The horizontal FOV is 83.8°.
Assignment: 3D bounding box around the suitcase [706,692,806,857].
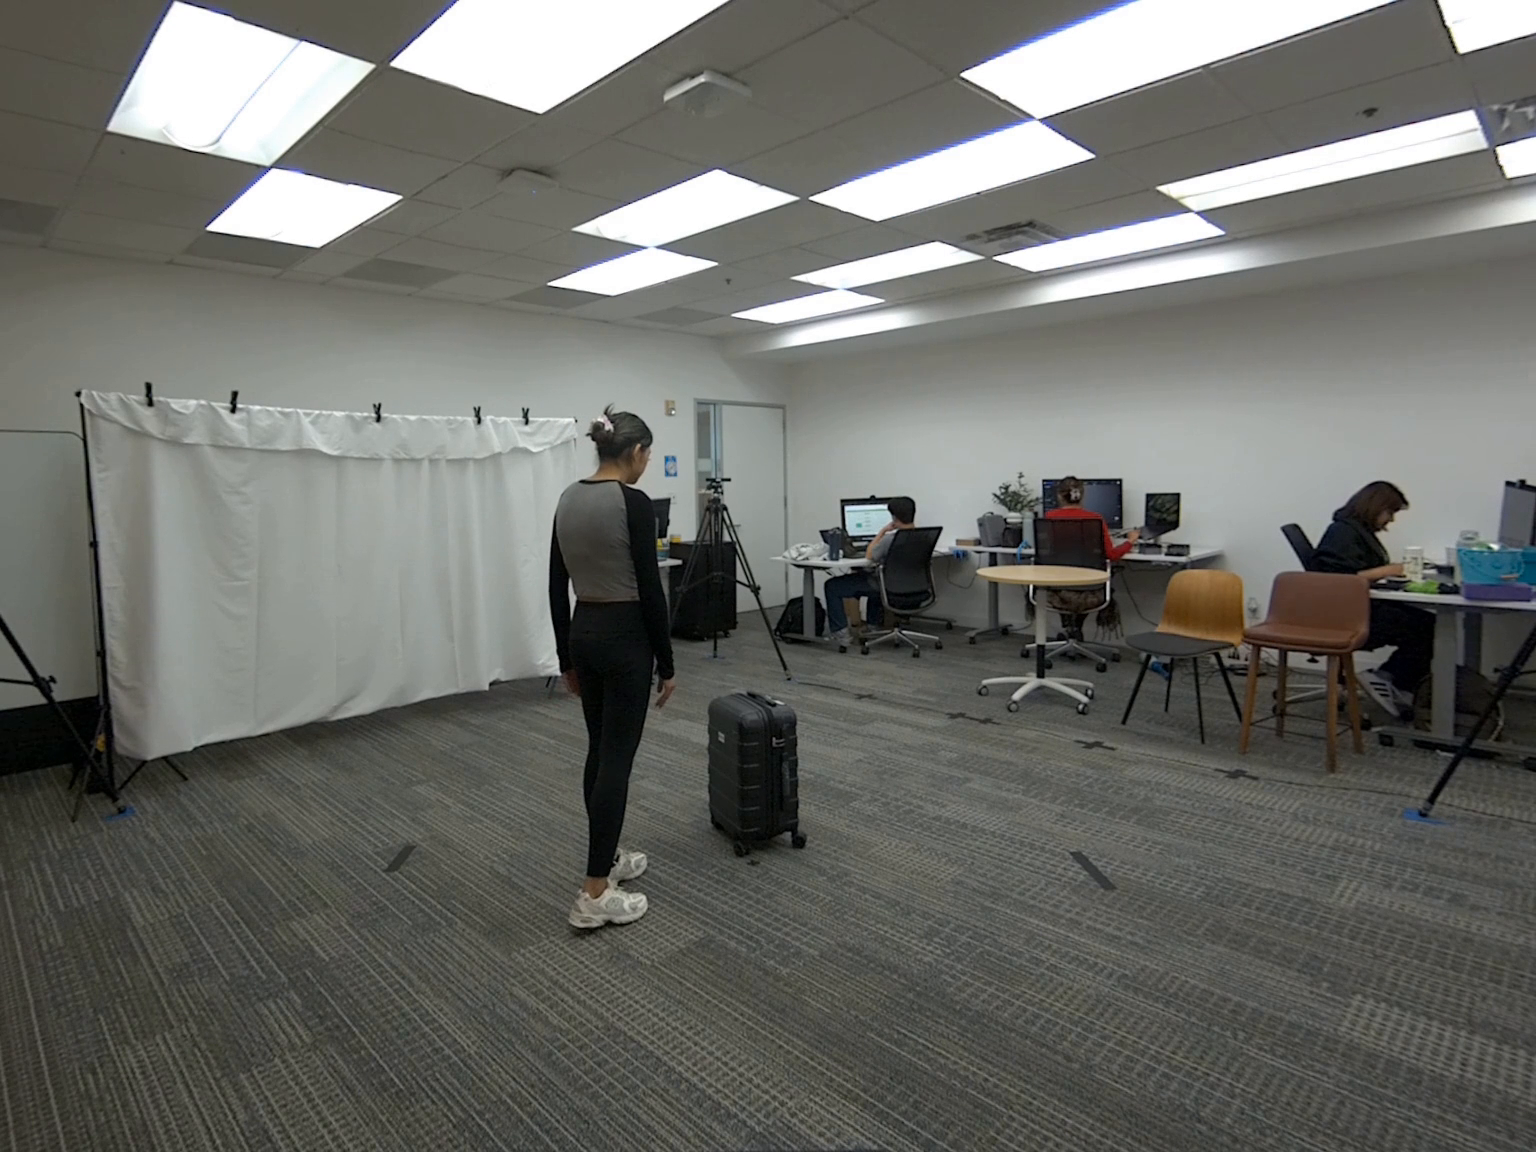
[{"bbox_3d":[-0.059,0.741,3.309,0.243,0.547,0.385,-3,6,-26],"label":"suitcase"}]
